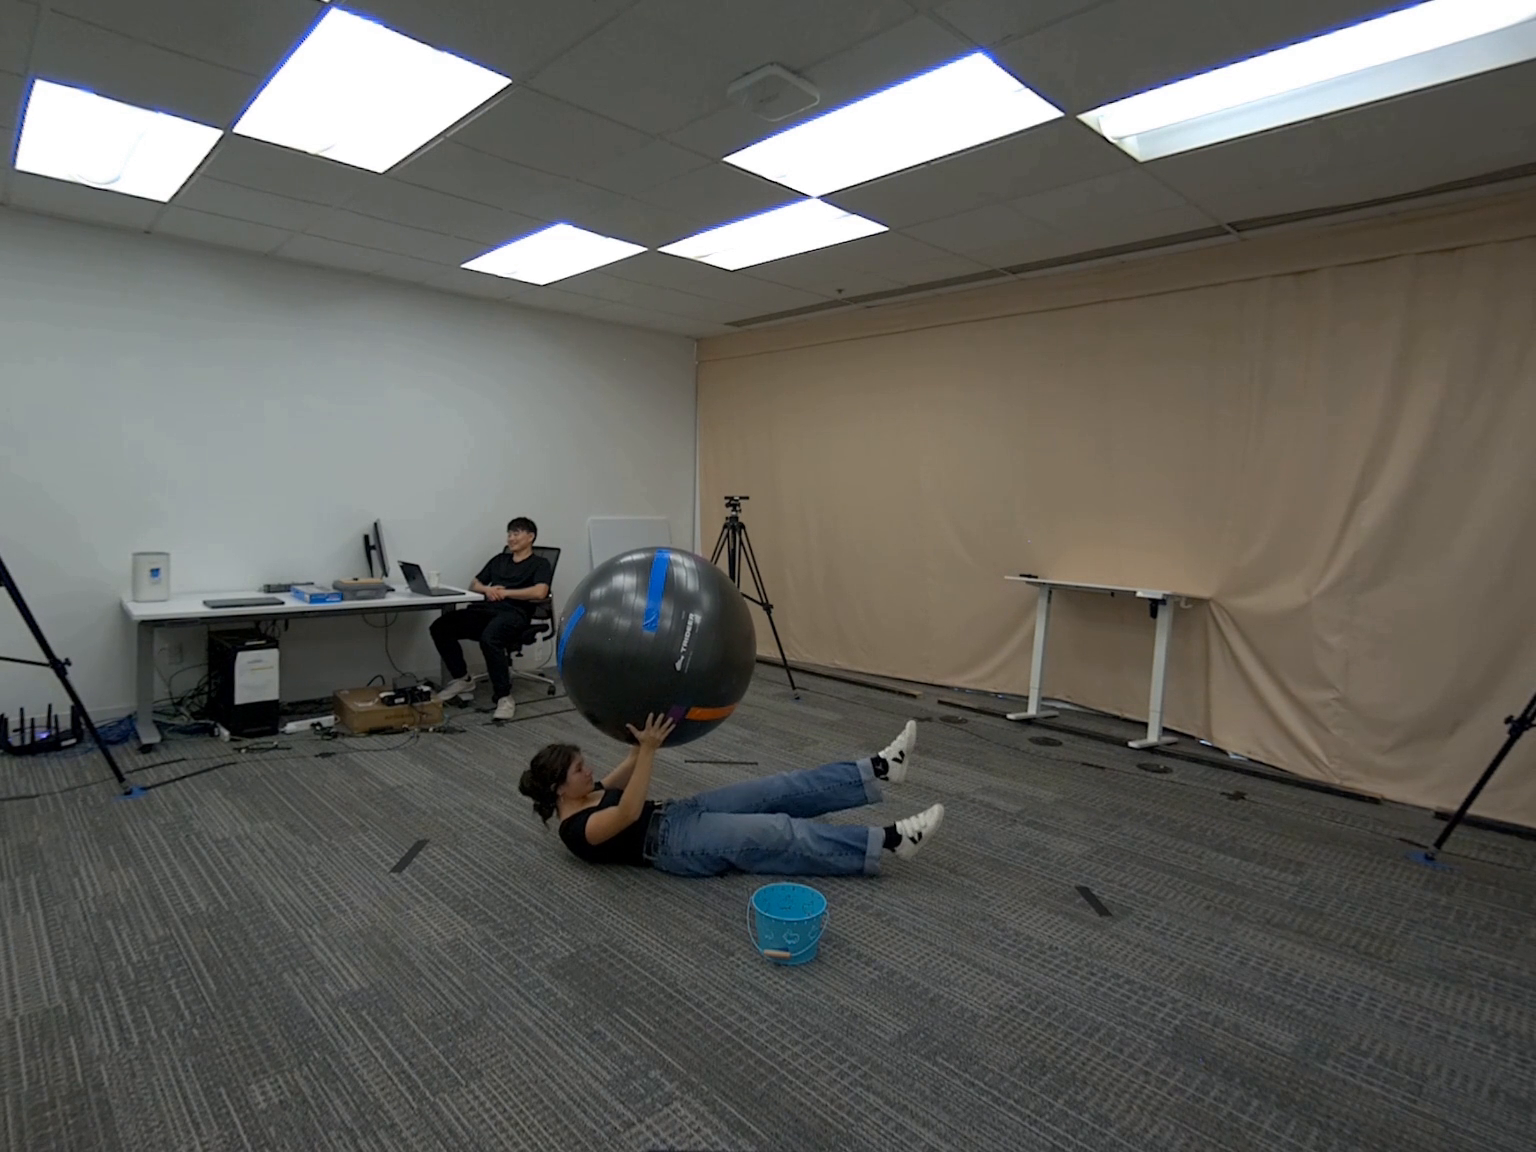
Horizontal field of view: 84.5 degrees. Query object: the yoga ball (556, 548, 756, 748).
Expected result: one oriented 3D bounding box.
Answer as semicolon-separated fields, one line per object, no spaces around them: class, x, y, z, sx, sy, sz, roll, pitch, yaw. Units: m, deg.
yoga ball;-0.426;0.271;3.203;0.757;0.756;0.761;1;4;-1
